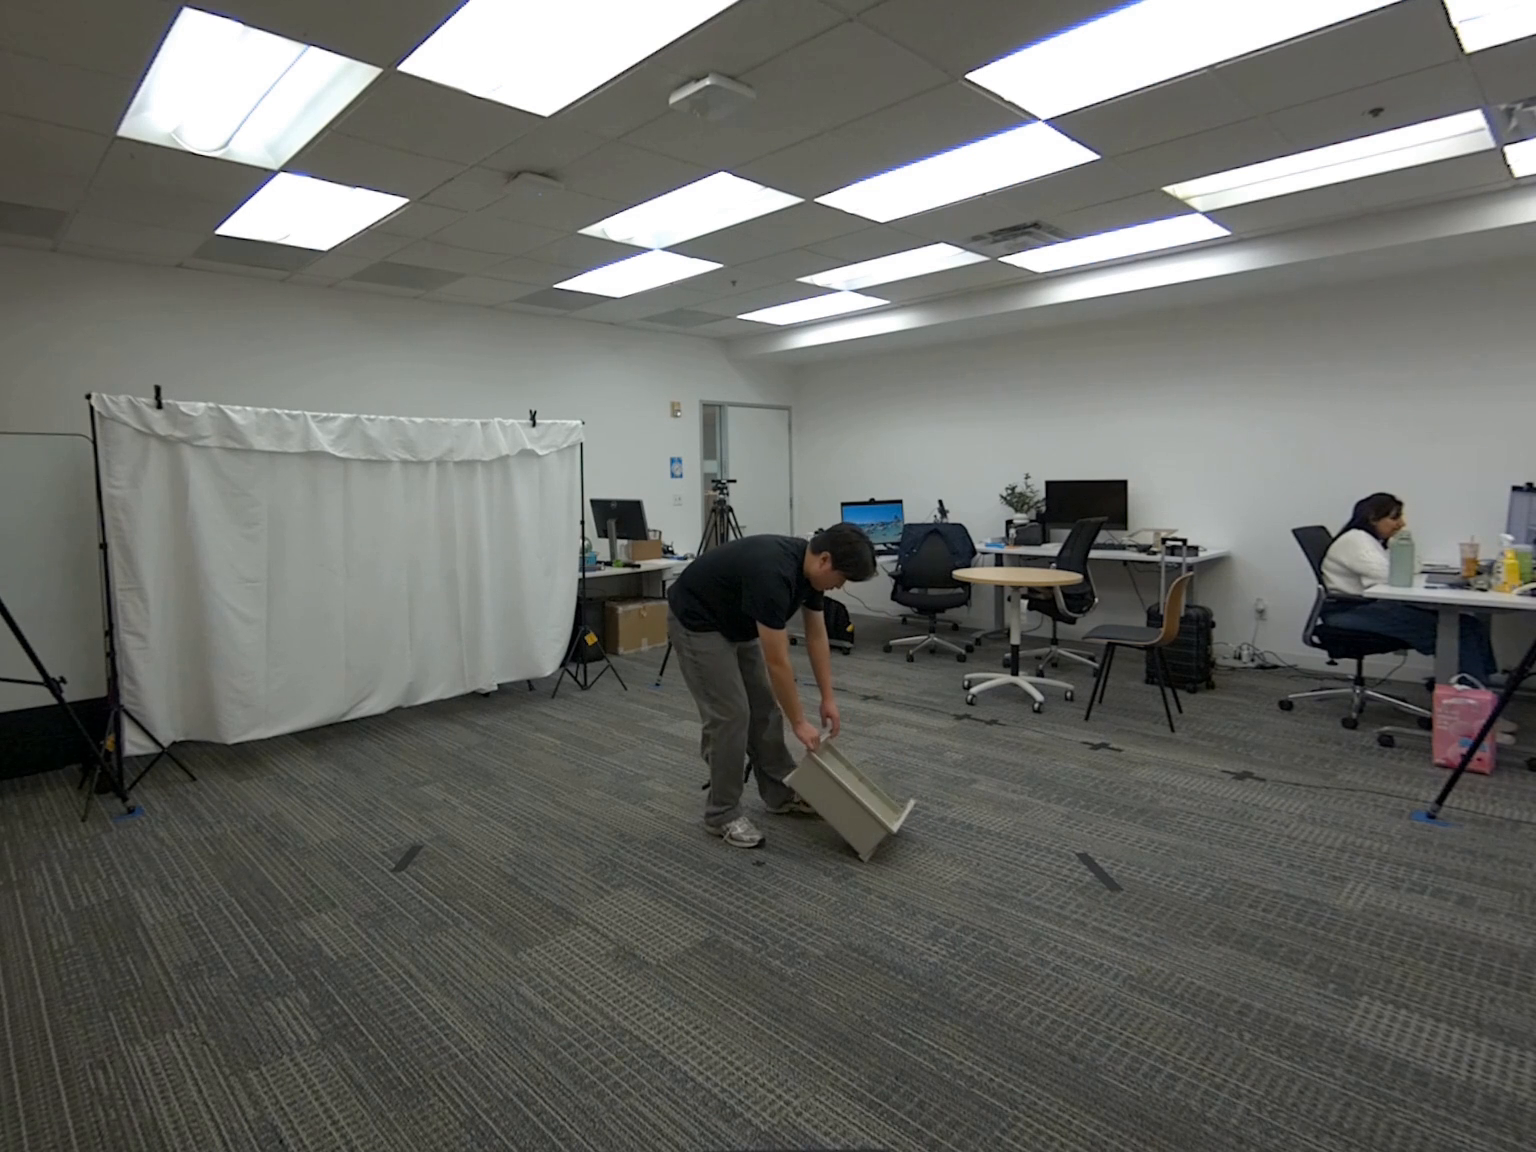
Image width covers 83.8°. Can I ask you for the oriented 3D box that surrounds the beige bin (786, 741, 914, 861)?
[{"bbox_3d":[0.319,0.824,3.293,0.432,0.188,0.370,41,20,16],"label":"beige bin"}]
